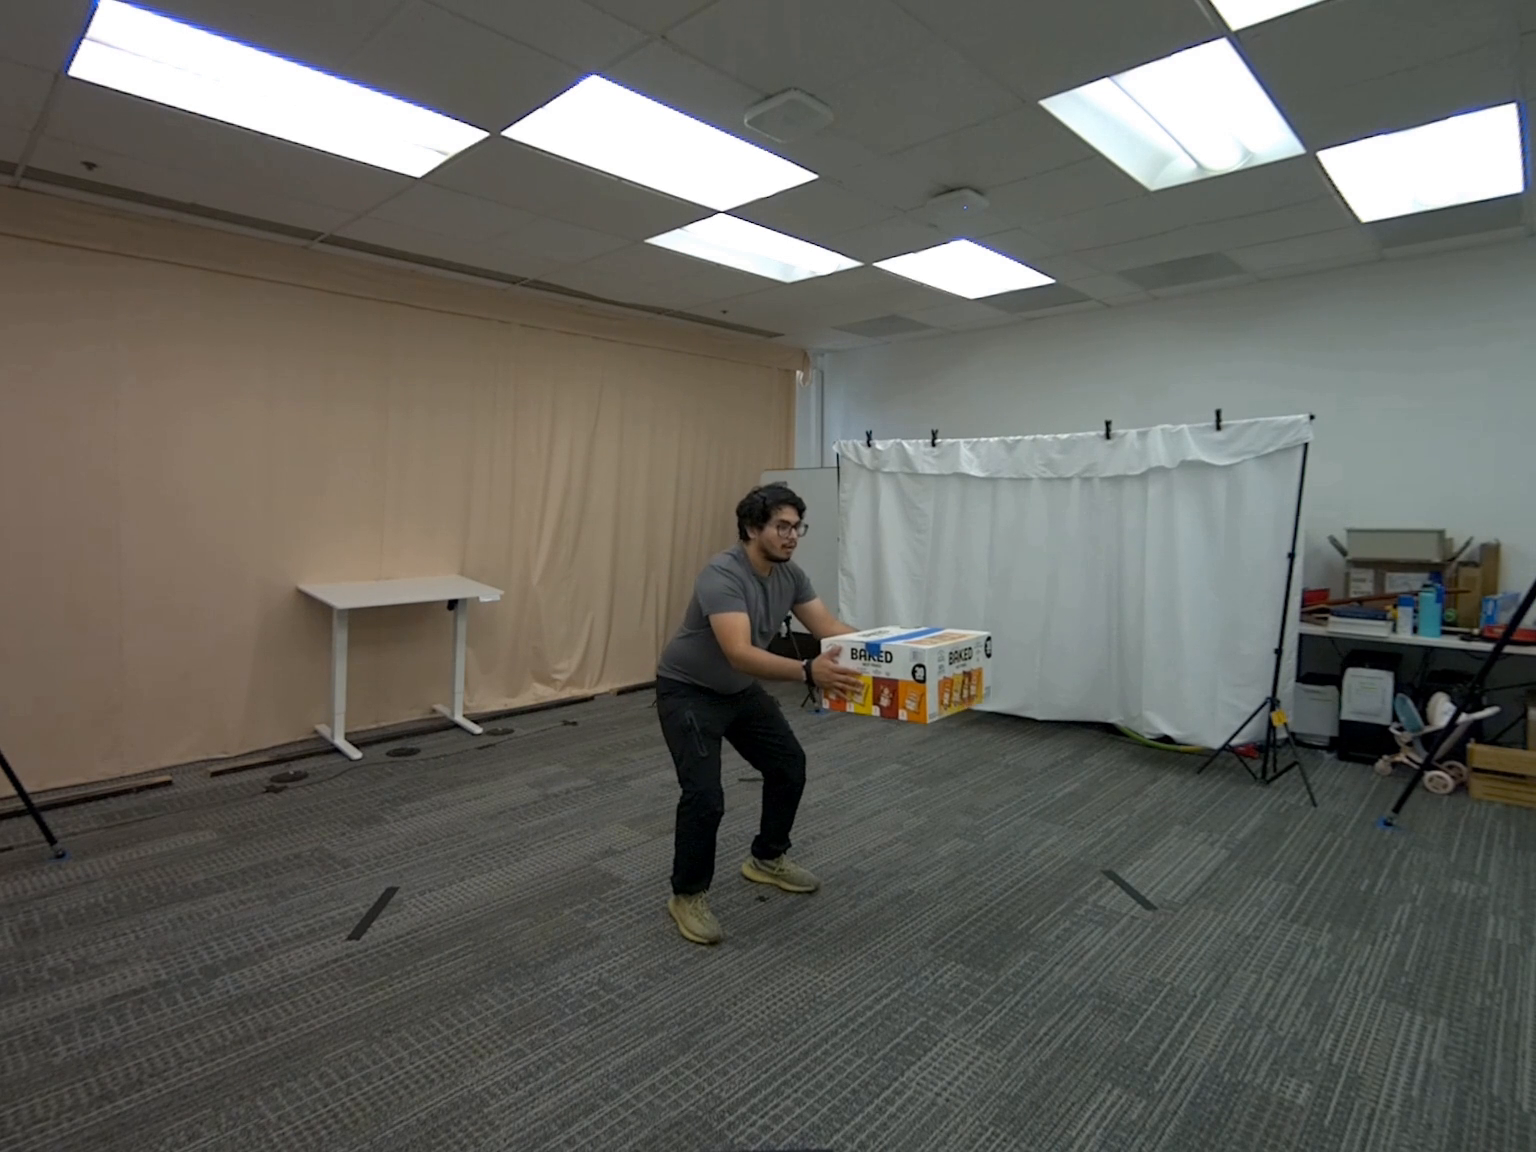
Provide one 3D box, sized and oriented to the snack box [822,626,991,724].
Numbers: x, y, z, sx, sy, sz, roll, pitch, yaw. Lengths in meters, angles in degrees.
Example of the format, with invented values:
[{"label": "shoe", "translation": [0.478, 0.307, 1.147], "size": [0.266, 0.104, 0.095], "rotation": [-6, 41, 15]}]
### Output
[{"label": "snack box", "translation": [0.414, 0.279, 2.473], "size": [0.351, 0.205, 0.393], "rotation": [2, 4, 39]}]
